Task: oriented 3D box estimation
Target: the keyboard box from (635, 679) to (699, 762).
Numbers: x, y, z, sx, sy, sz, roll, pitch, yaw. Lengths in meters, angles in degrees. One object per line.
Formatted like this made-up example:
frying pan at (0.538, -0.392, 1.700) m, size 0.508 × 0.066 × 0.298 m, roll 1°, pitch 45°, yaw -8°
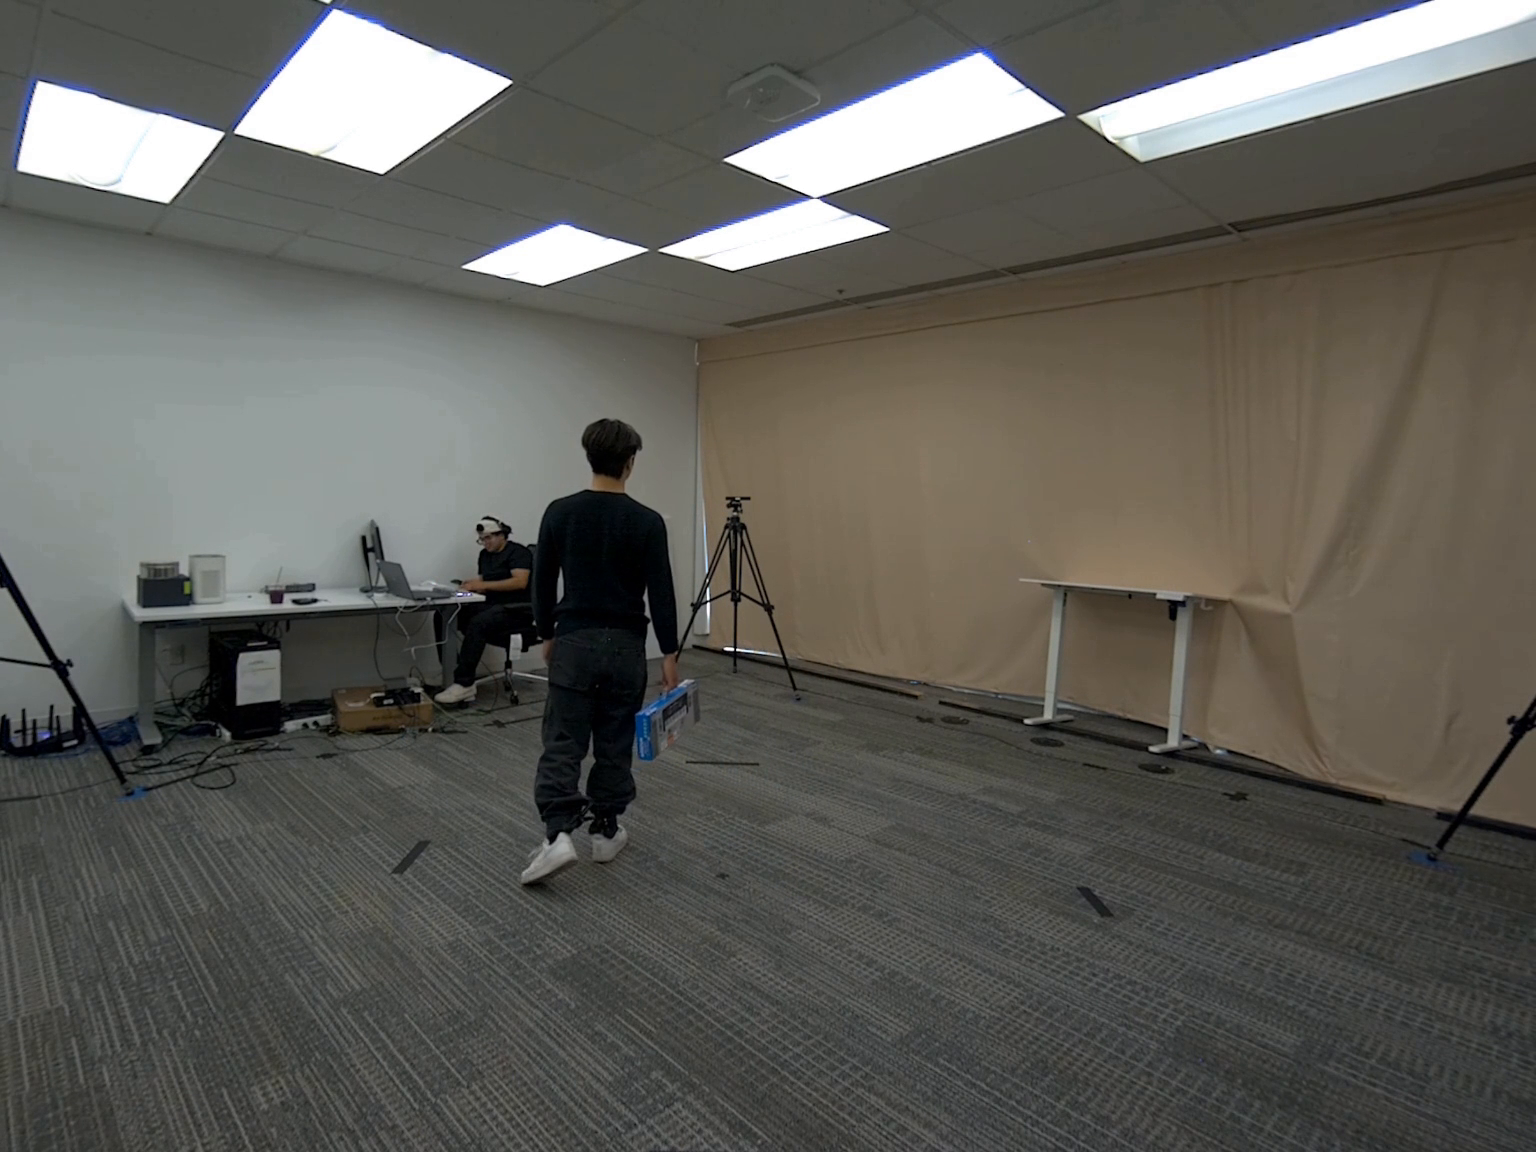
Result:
keyboard box at (-0.391, 0.547, 3.250) m, size 0.060 × 0.175 × 0.433 m, roll 1°, pitch 10°, yaw 19°
